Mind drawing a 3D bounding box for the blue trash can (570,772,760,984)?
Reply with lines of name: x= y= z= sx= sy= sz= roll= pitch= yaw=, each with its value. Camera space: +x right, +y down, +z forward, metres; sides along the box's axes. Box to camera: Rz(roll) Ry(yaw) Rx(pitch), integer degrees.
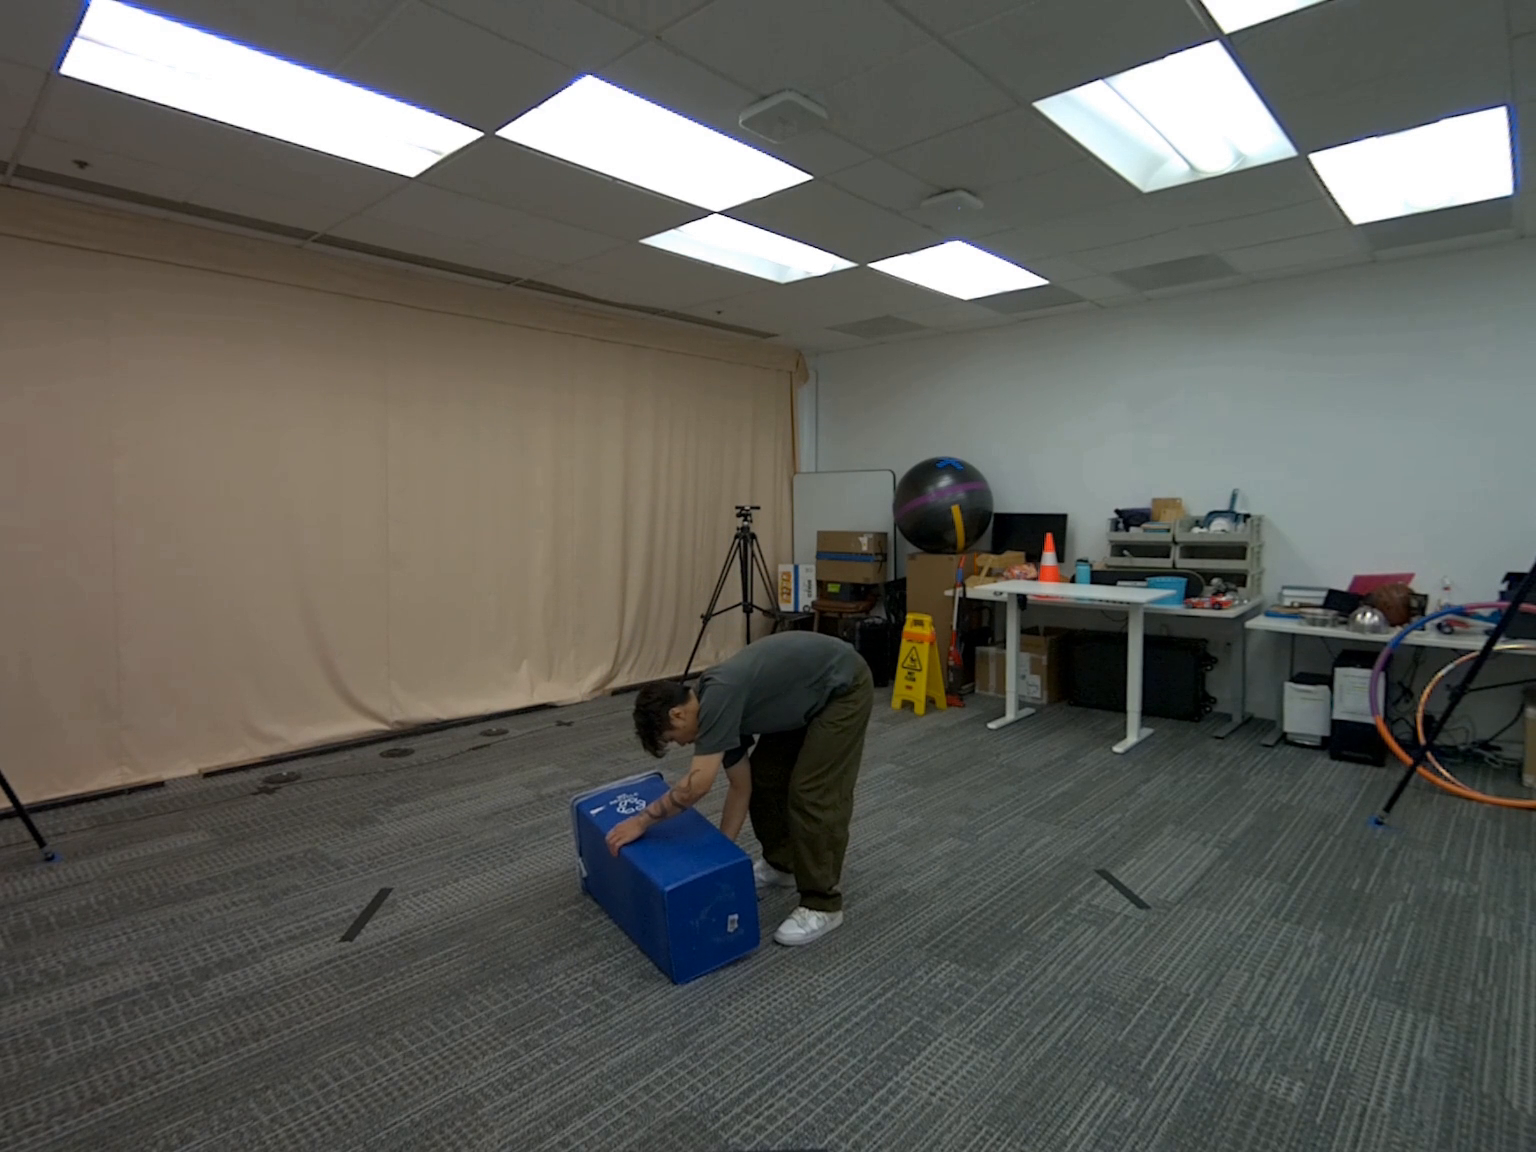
blue trash can: x=-0.357 y=0.989 z=2.794 sx=0.369 sy=0.371 sz=0.736 roll=-10 pitch=12 yaw=-29
